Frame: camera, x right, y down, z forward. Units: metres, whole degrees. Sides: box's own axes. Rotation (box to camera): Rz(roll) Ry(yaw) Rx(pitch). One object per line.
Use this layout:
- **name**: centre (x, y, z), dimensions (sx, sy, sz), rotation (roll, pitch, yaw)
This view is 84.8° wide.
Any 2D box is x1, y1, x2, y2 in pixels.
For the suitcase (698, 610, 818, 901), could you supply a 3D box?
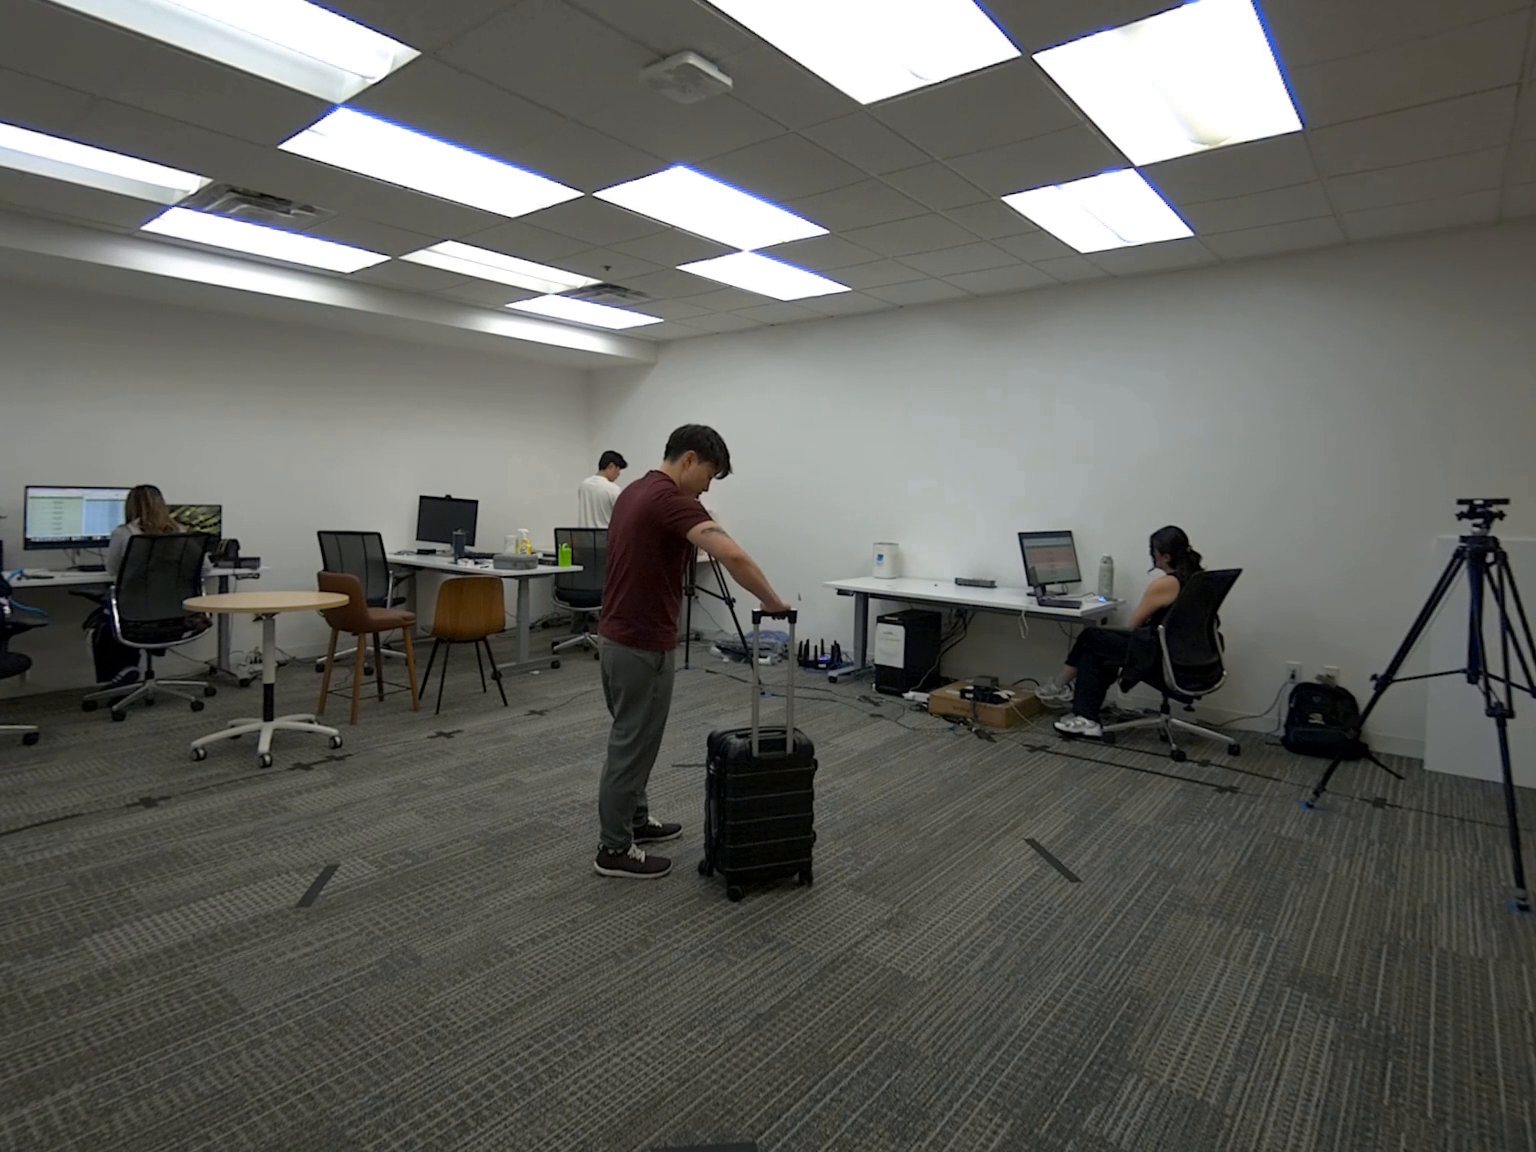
- **suitcase**: centre (-0.038, 0.604, 3.012), dimensions (0.376, 0.978, 0.262), rotation (0, 1, -20)
